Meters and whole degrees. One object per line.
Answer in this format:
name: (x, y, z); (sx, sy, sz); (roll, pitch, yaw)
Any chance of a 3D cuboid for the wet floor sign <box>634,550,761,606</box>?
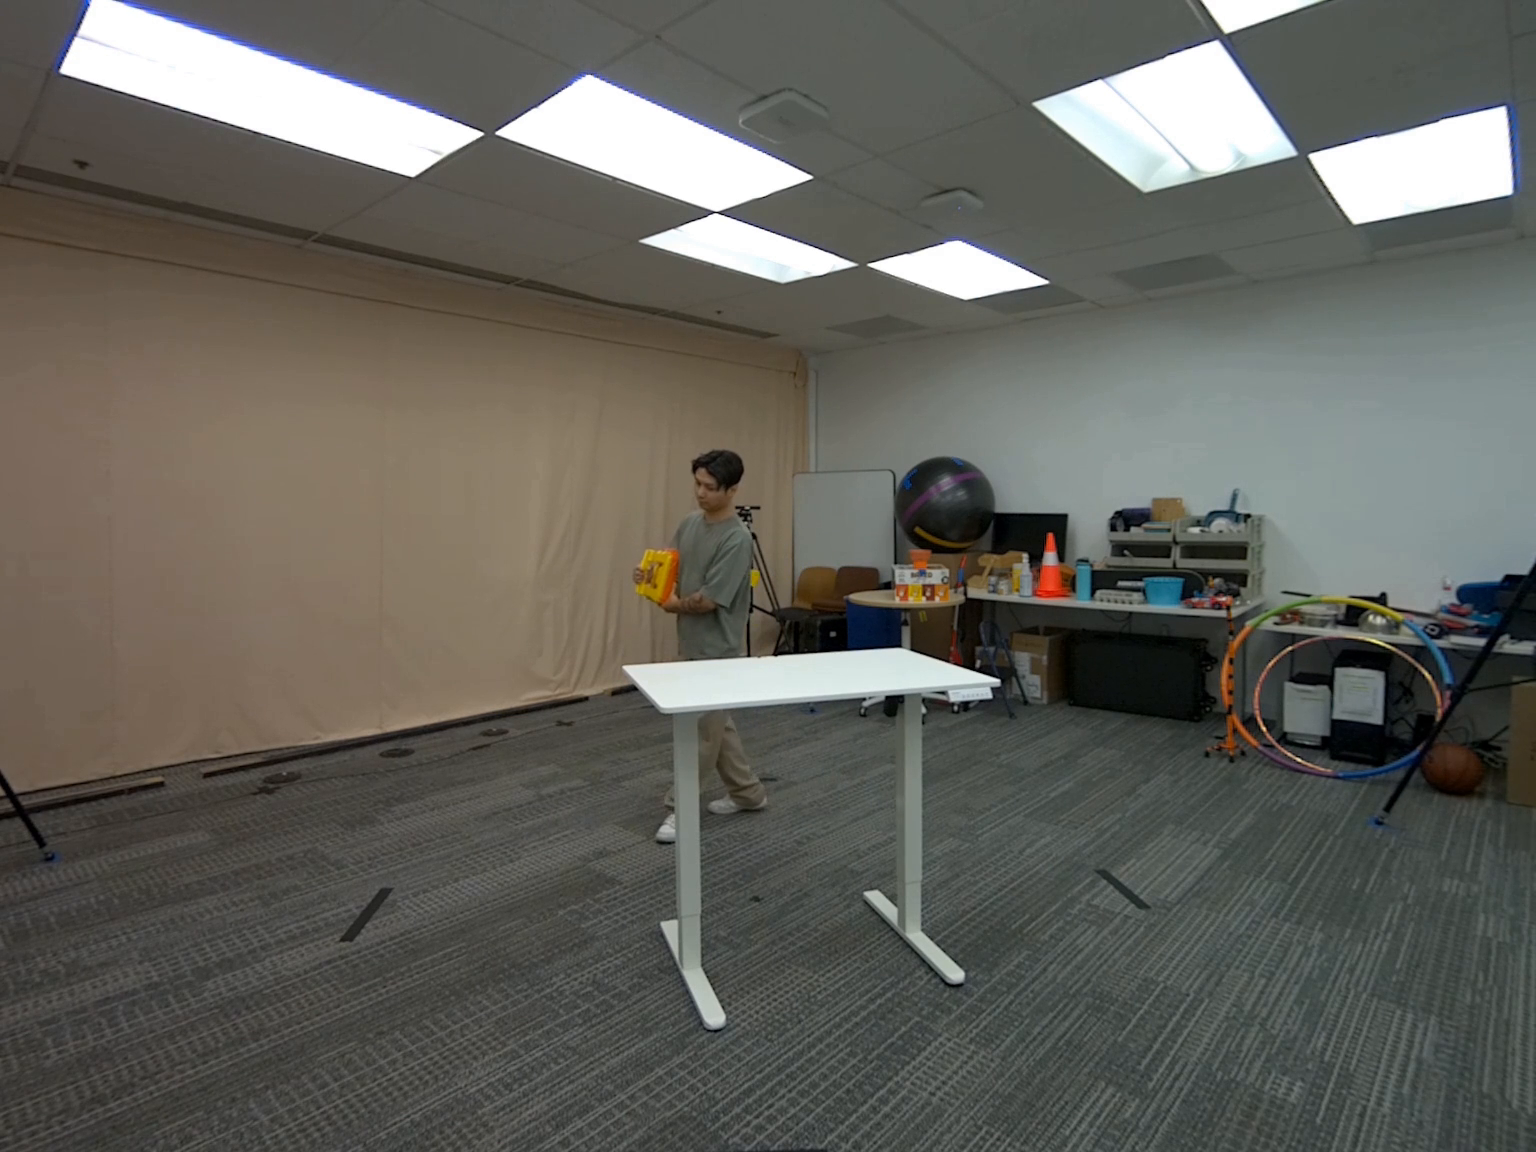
wet floor sign: (-0.320, 0.052, 3.848); (0.623, 0.282, 0.300); (18, -2, -42)
